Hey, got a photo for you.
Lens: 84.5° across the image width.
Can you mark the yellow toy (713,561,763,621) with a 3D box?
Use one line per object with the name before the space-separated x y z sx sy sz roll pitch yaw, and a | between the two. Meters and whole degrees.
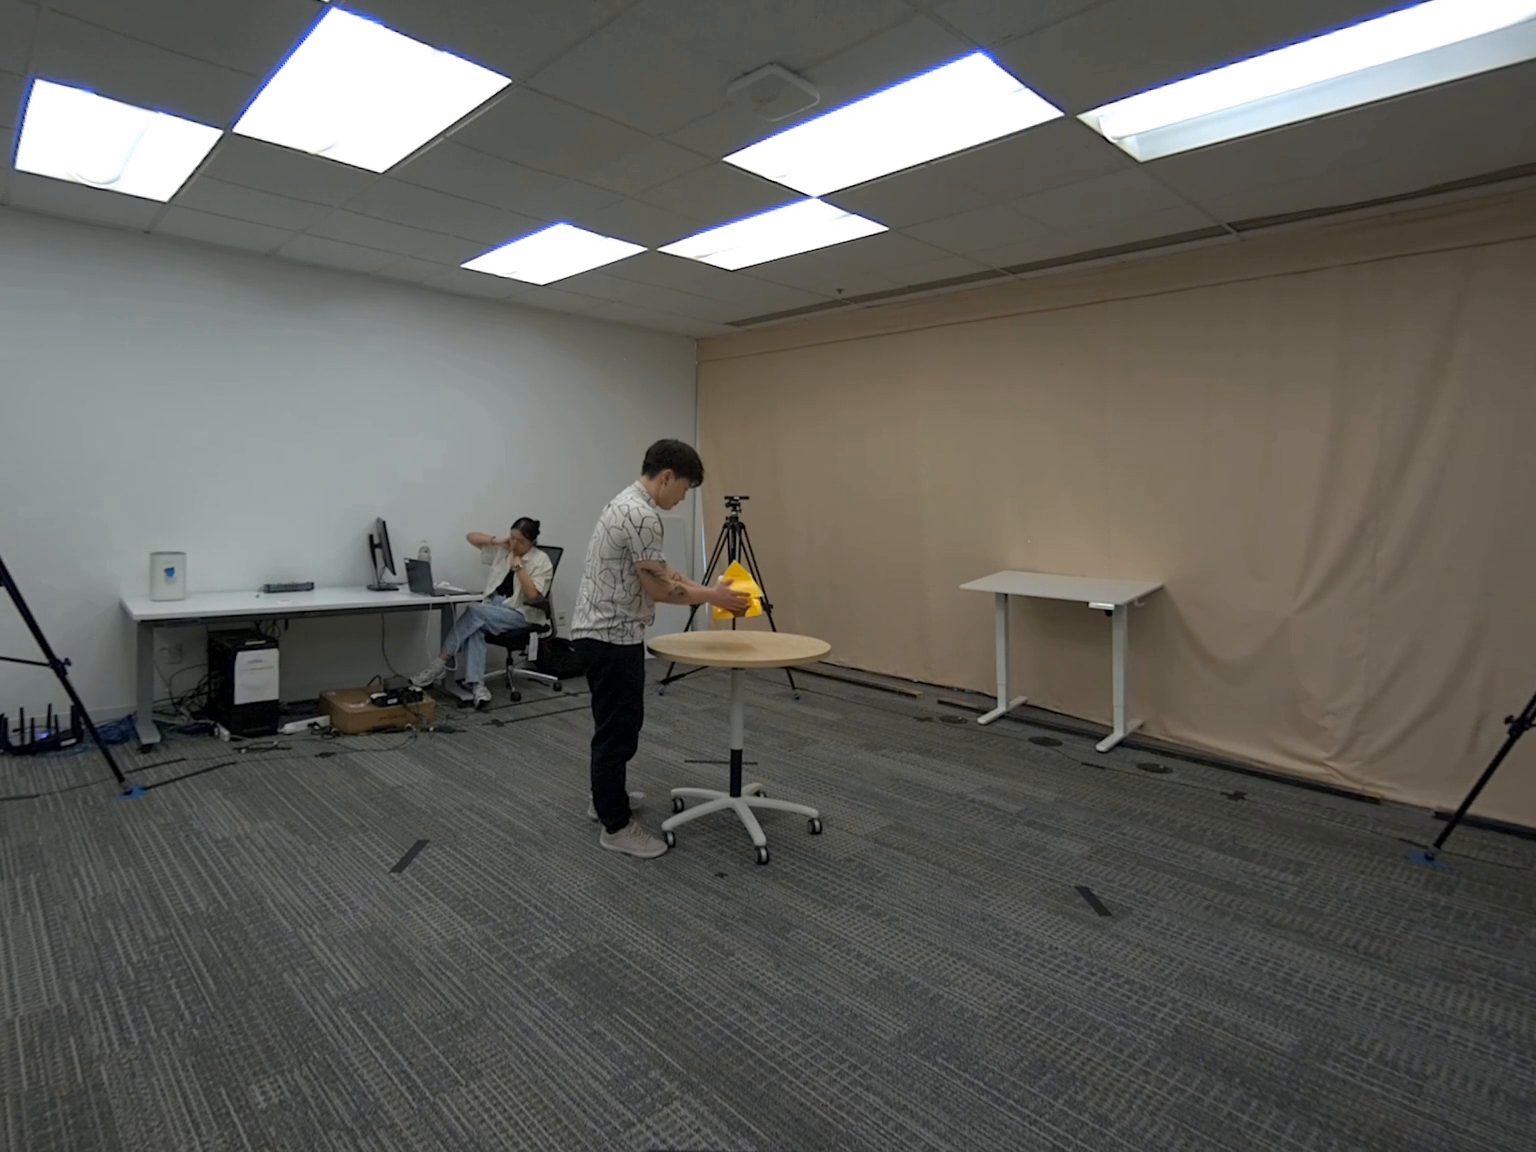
yellow toy | -0.143 0.045 3.416 0.204 0.229 0.195 -6 7 -7
